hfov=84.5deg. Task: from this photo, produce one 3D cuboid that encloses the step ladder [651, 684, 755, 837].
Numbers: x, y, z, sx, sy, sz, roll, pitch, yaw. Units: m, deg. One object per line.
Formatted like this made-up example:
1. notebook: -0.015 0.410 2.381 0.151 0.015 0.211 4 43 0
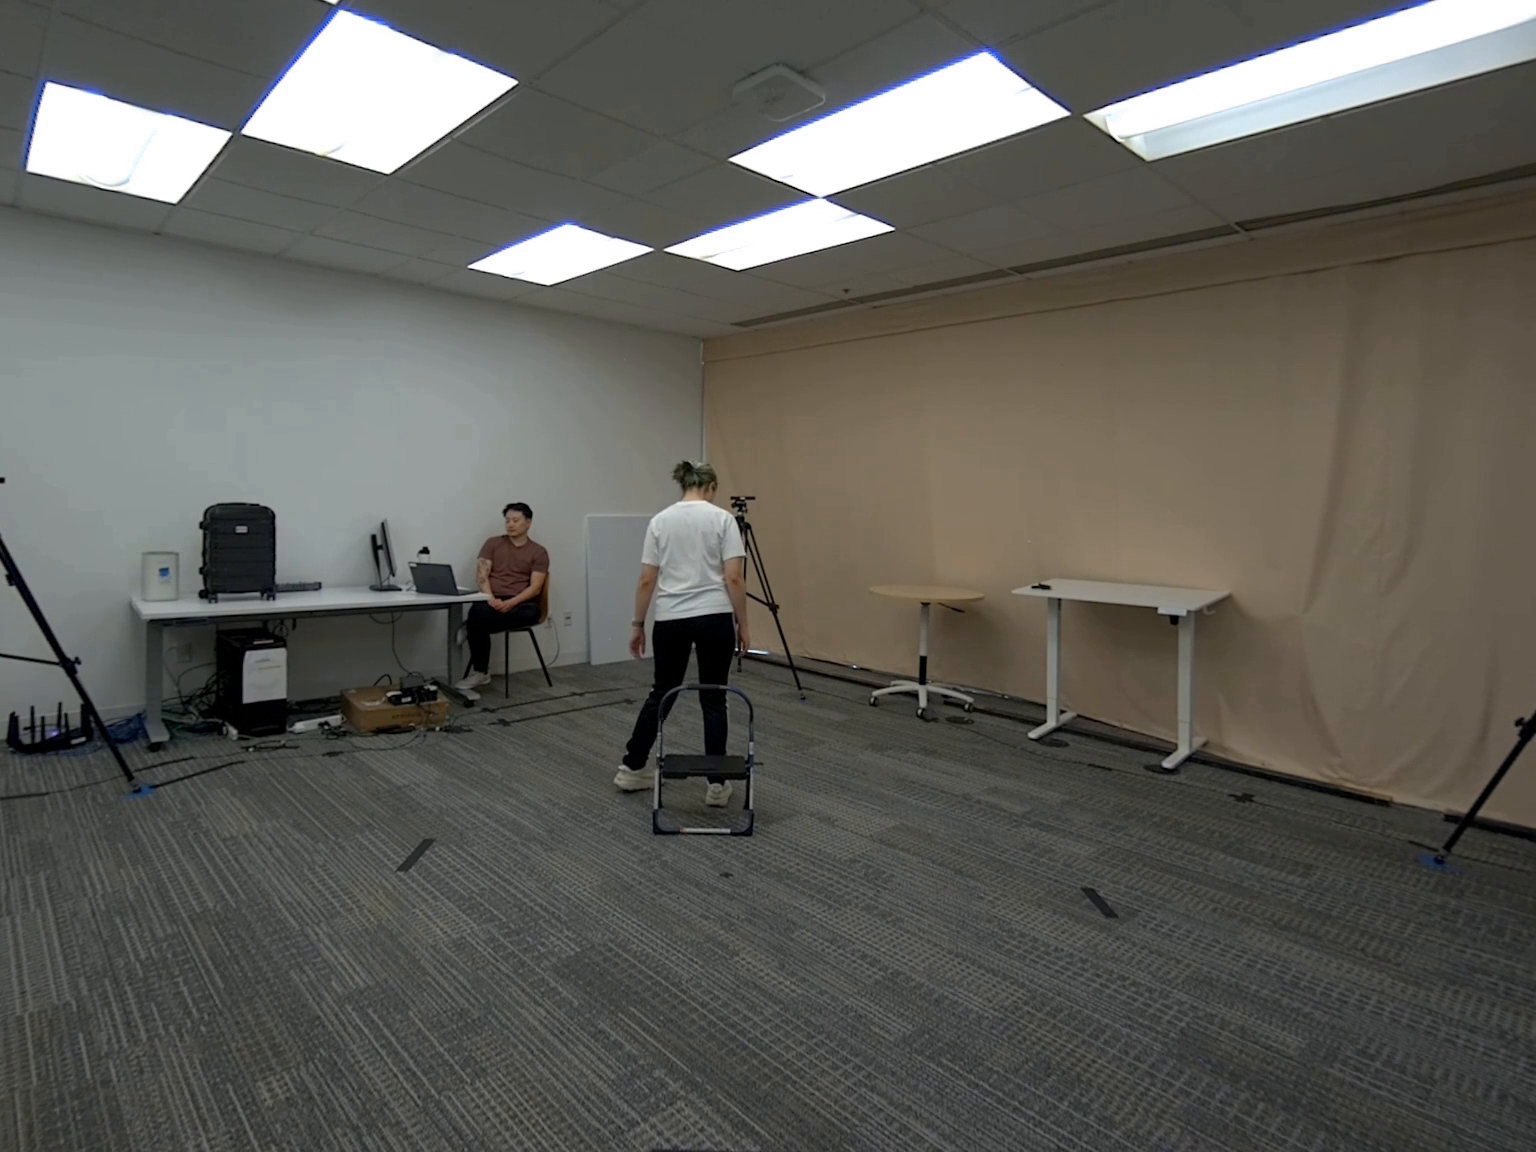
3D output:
1. step ladder: -0.277 0.756 3.620 0.430 0.605 0.350 1 3 -3
